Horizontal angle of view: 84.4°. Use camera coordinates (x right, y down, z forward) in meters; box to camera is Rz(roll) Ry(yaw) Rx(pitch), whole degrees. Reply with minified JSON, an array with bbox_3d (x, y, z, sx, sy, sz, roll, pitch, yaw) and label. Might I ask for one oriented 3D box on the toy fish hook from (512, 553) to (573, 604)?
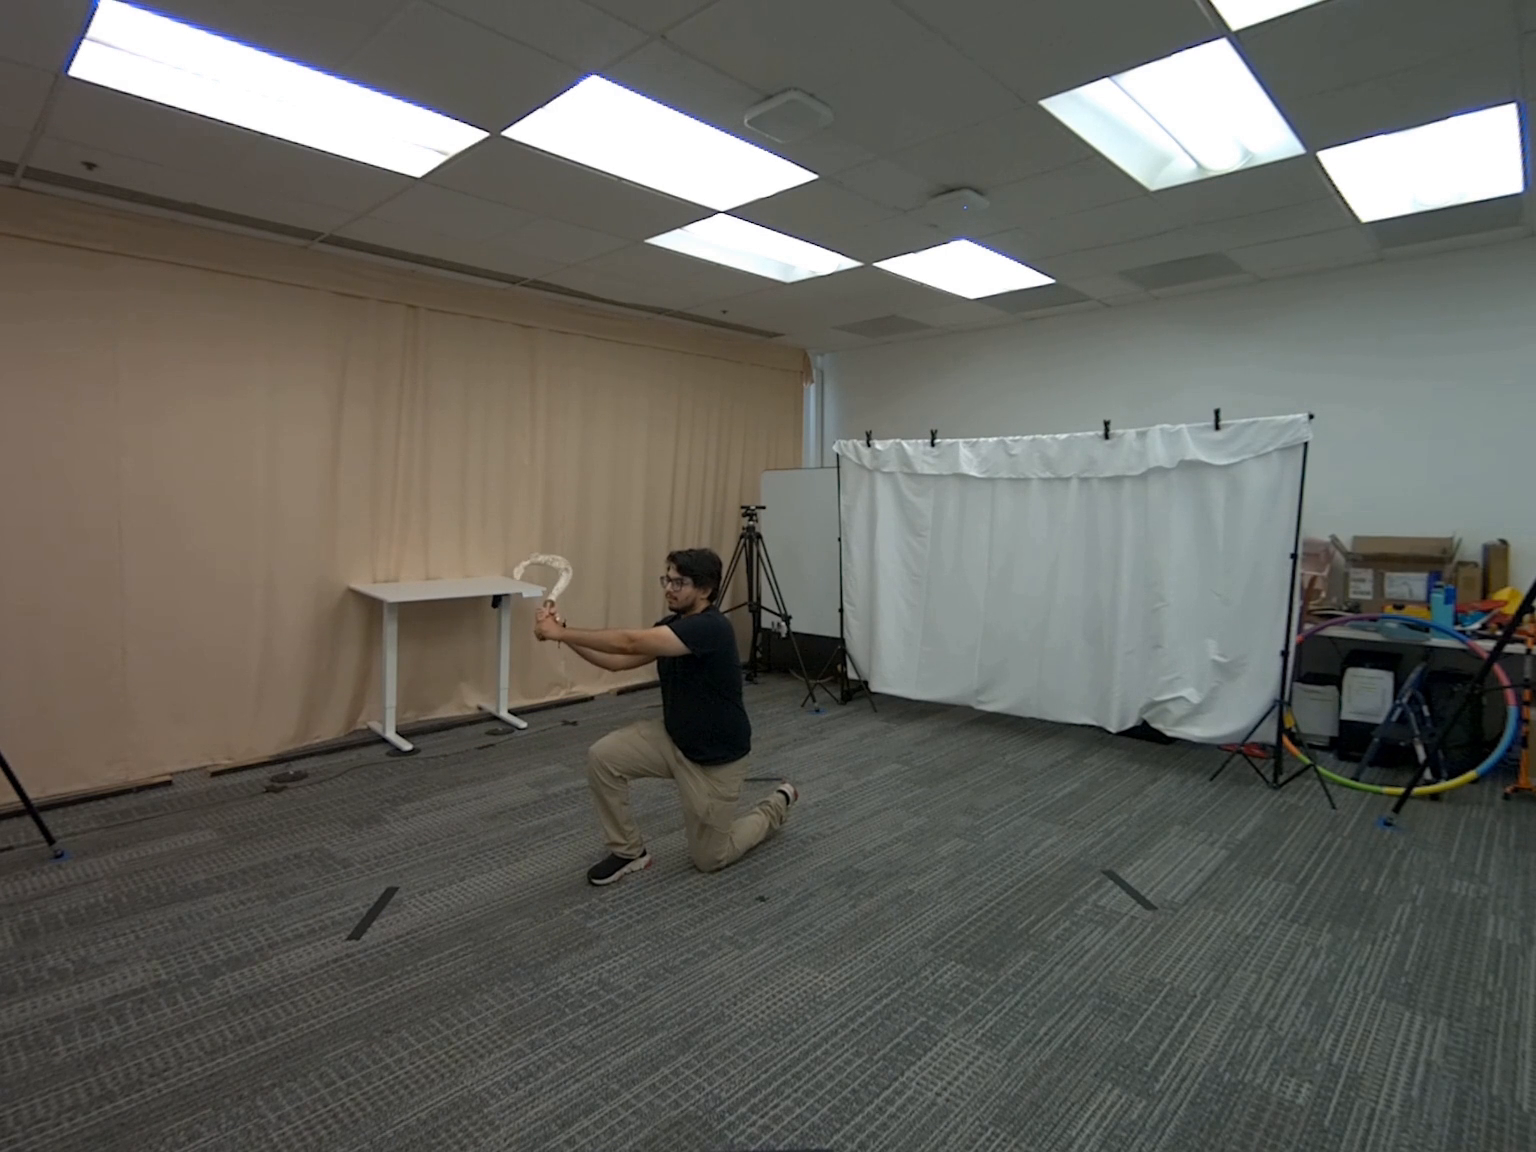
[{"bbox_3d":[-0.887,0.081,3.220,0.223,0.047,0.517,2,36,-6],"label":"toy fish hook"}]
